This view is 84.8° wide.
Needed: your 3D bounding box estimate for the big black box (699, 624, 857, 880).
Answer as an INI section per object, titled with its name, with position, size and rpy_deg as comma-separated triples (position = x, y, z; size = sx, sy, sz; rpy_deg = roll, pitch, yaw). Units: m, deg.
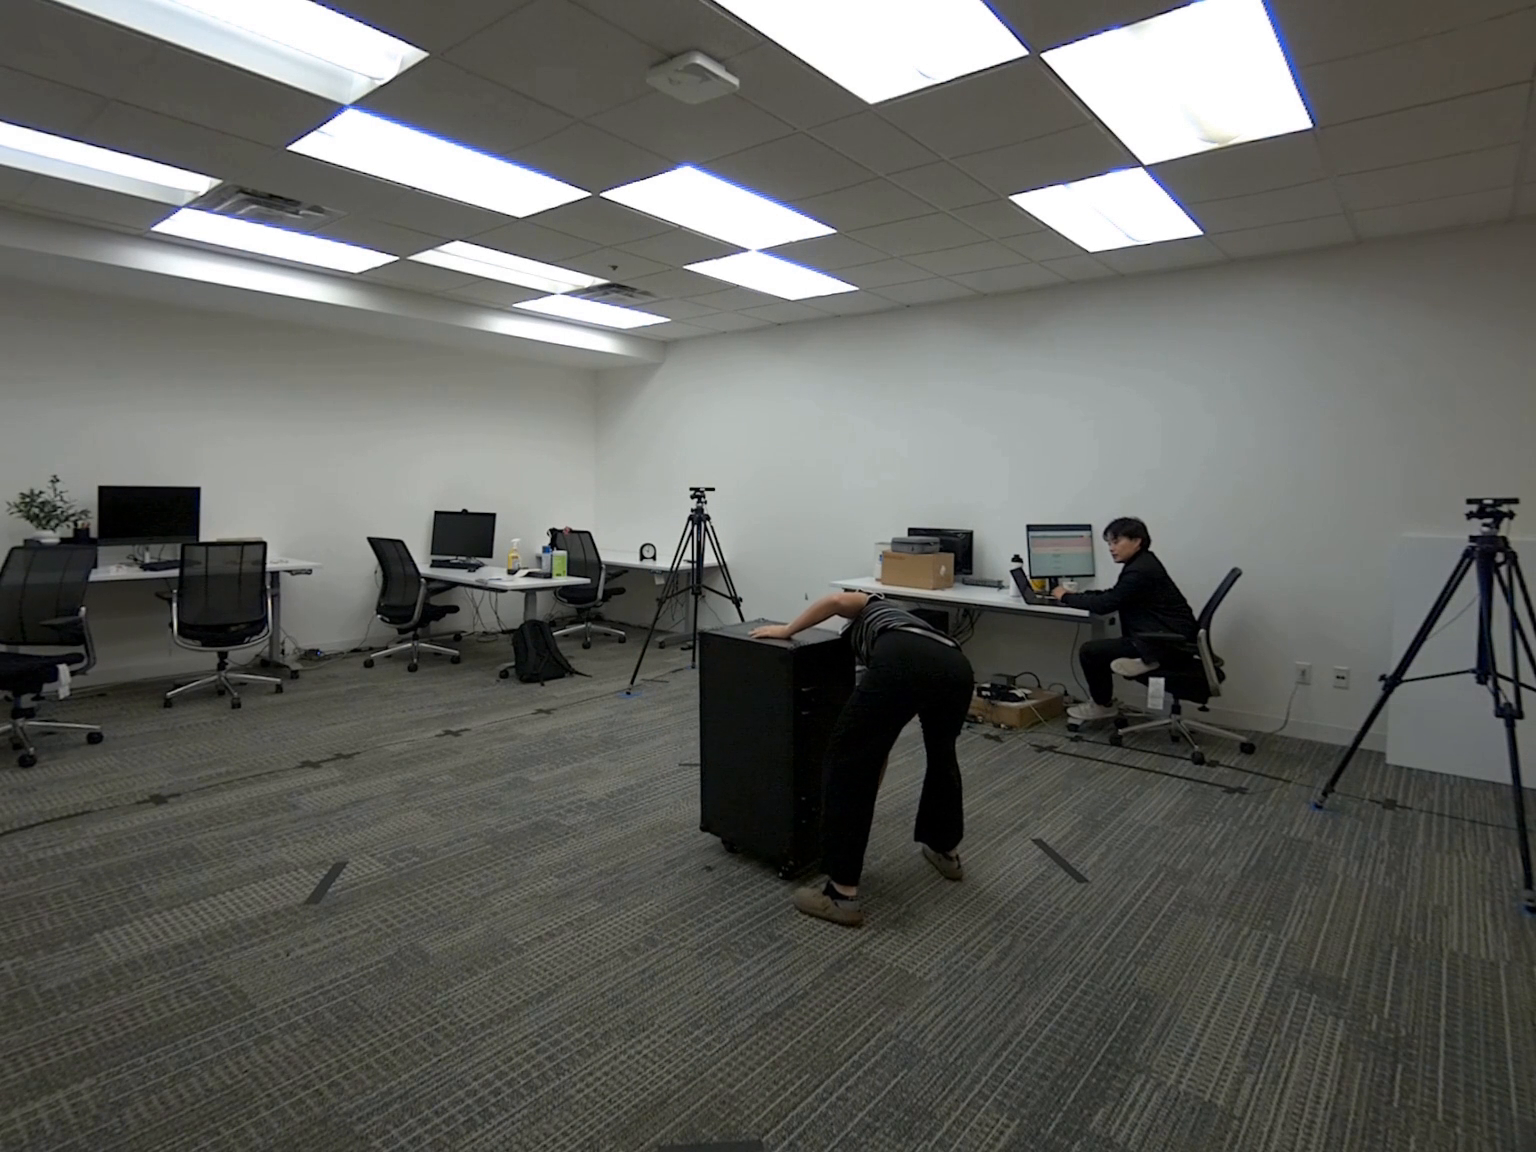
[big black box]
position = 0.021, 0.632, 3.231
size = 0.539, 0.859, 0.384
rpy_deg = 4, 4, 44
